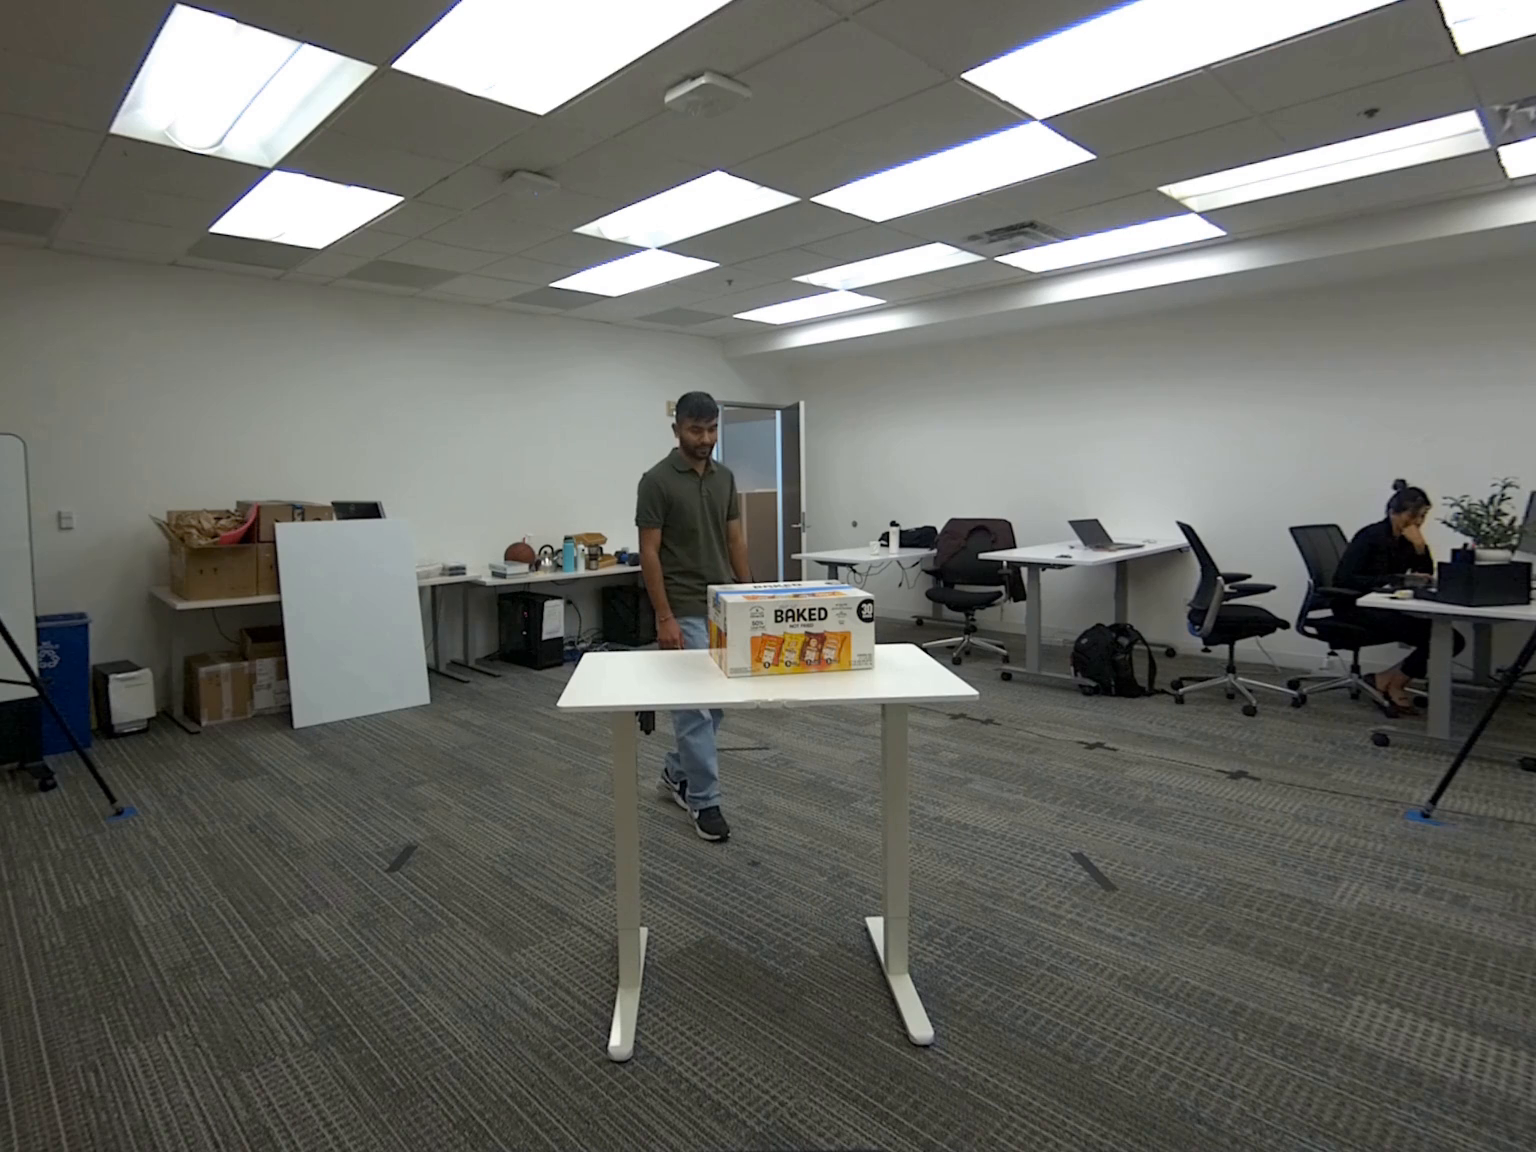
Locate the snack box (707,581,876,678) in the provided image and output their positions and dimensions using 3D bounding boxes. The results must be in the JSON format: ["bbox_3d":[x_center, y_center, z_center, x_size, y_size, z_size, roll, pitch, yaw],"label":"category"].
[{"bbox_3d":[0.054,0.140,2.424,0.401,0.205,0.345,-2,6,-12],"label":"snack box"}]
